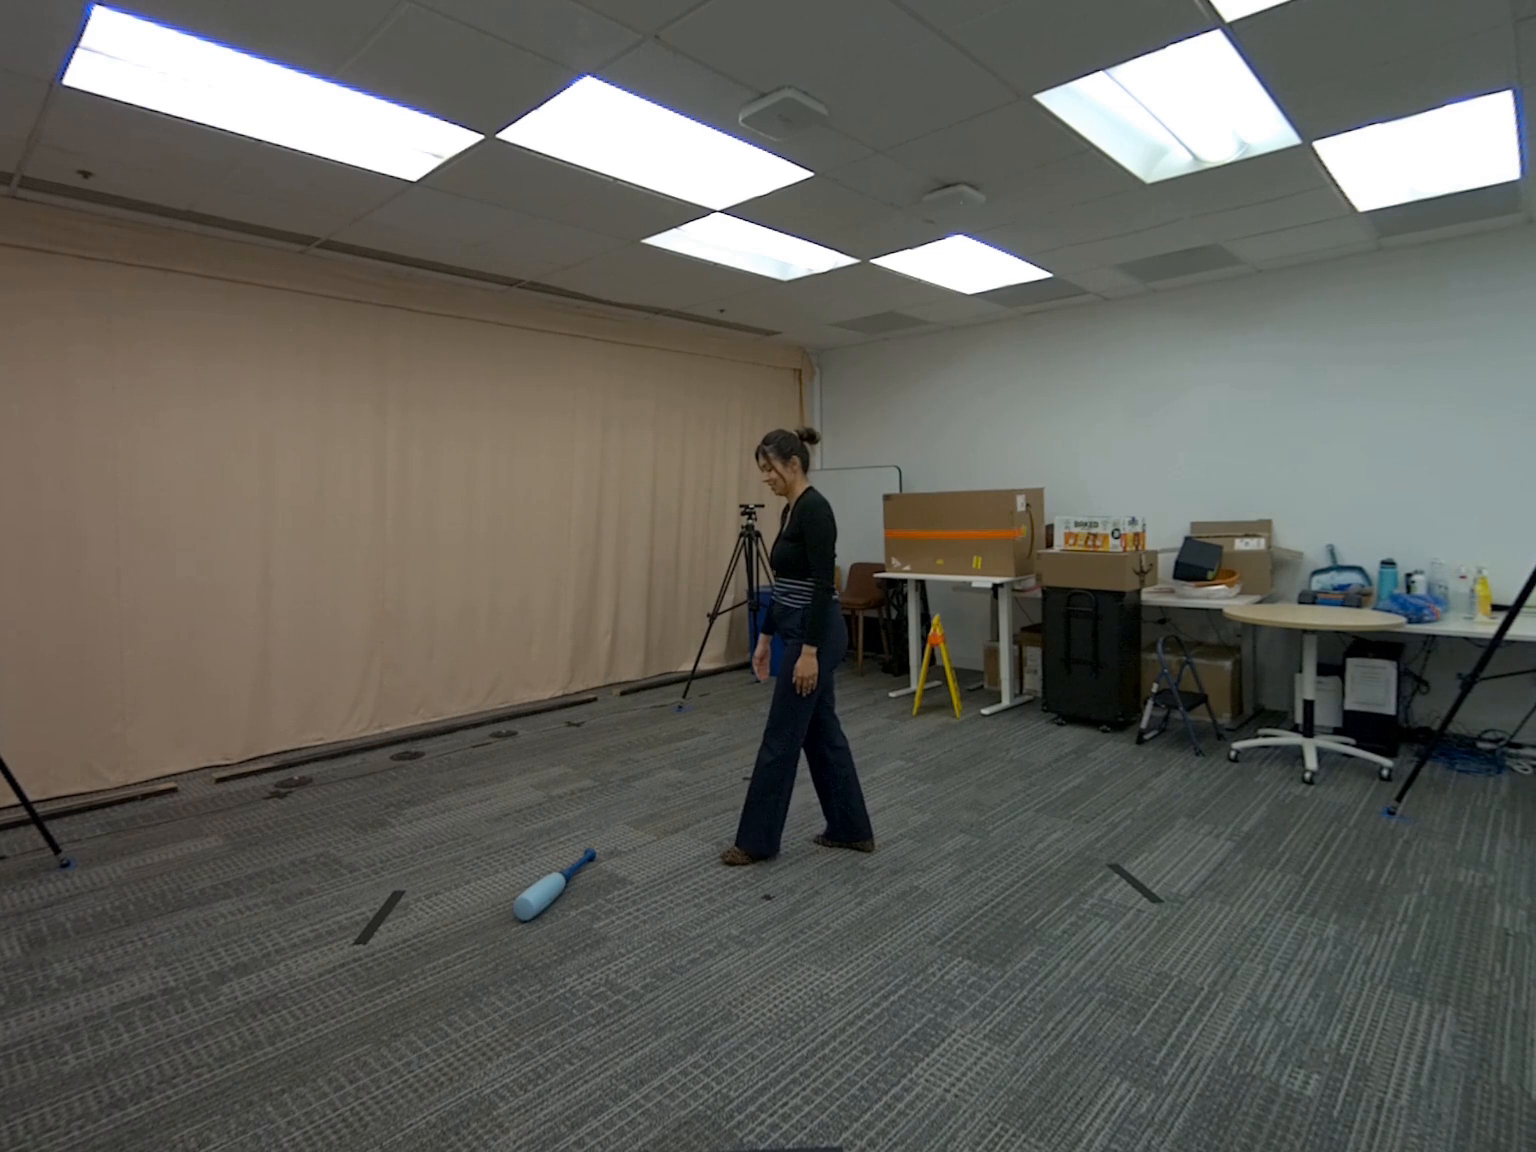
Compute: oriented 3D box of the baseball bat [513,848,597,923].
[{"bbox_3d":[-0.762,1.114,3.081,0.090,0.089,0.535,0,1,13],"label":"baseball bat"}]
